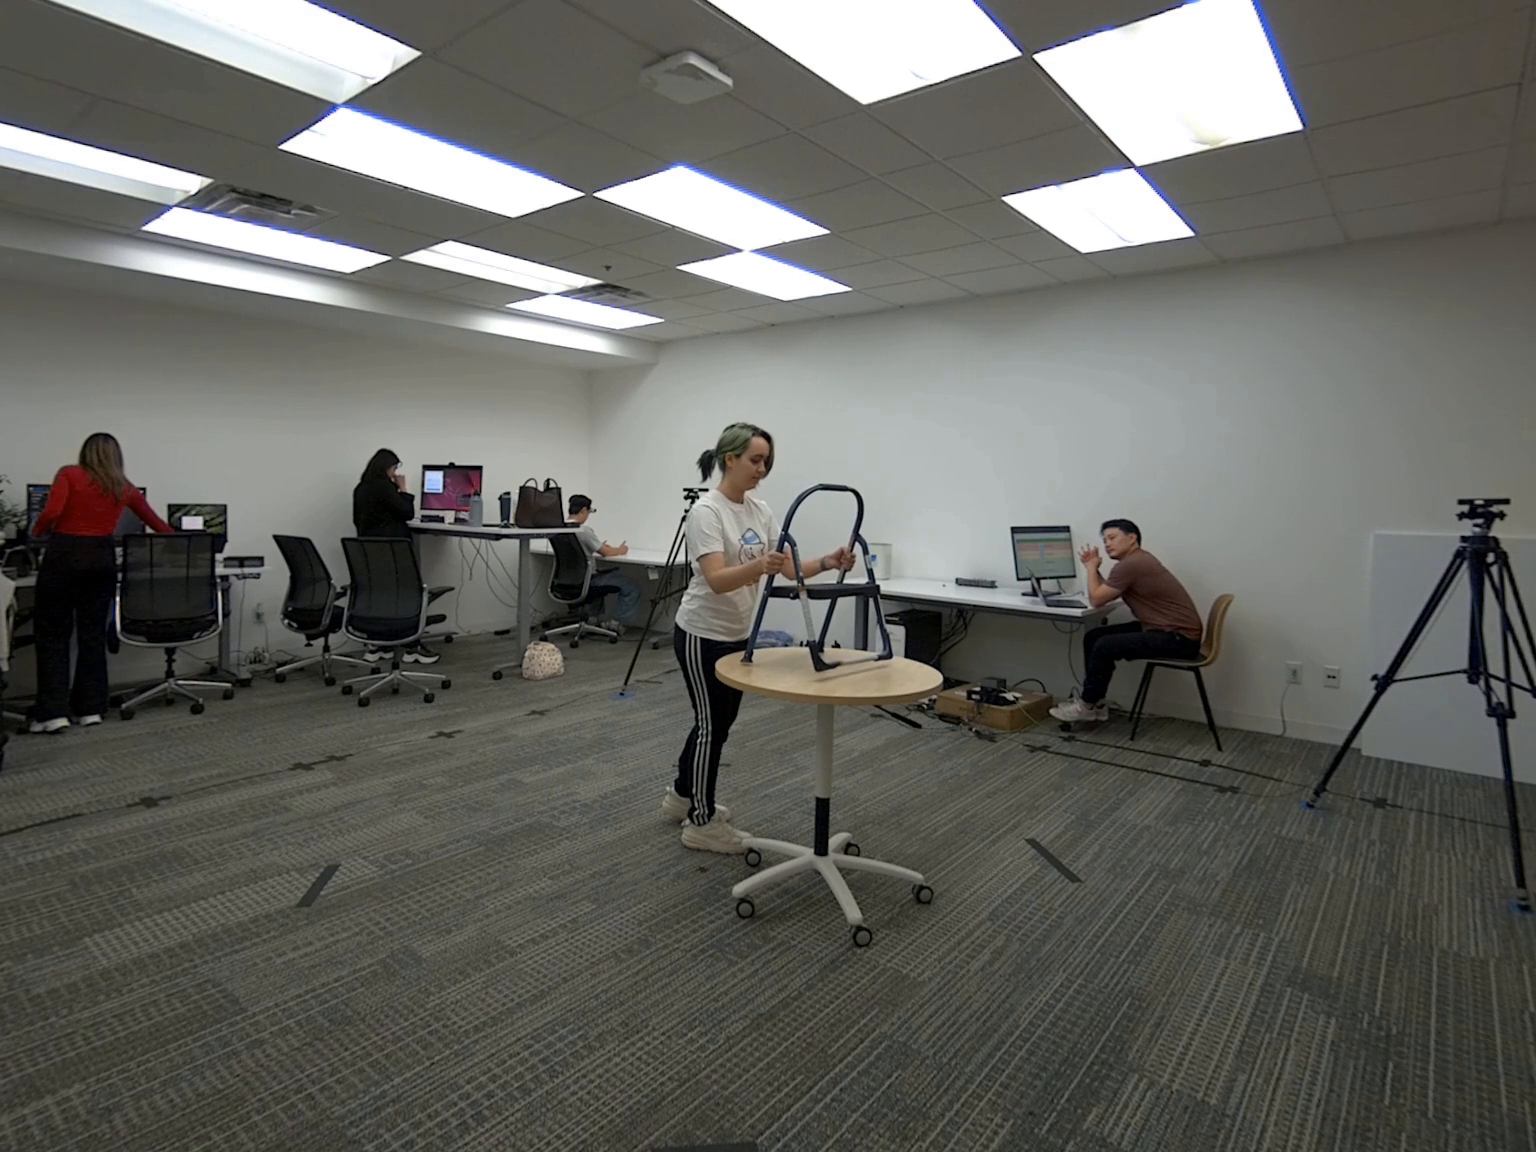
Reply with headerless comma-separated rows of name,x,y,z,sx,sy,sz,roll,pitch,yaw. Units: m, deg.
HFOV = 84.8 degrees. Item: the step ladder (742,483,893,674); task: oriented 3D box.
step ladder,0.165,-0.009,2.946,0.360,0.606,0.417,0,1,43
